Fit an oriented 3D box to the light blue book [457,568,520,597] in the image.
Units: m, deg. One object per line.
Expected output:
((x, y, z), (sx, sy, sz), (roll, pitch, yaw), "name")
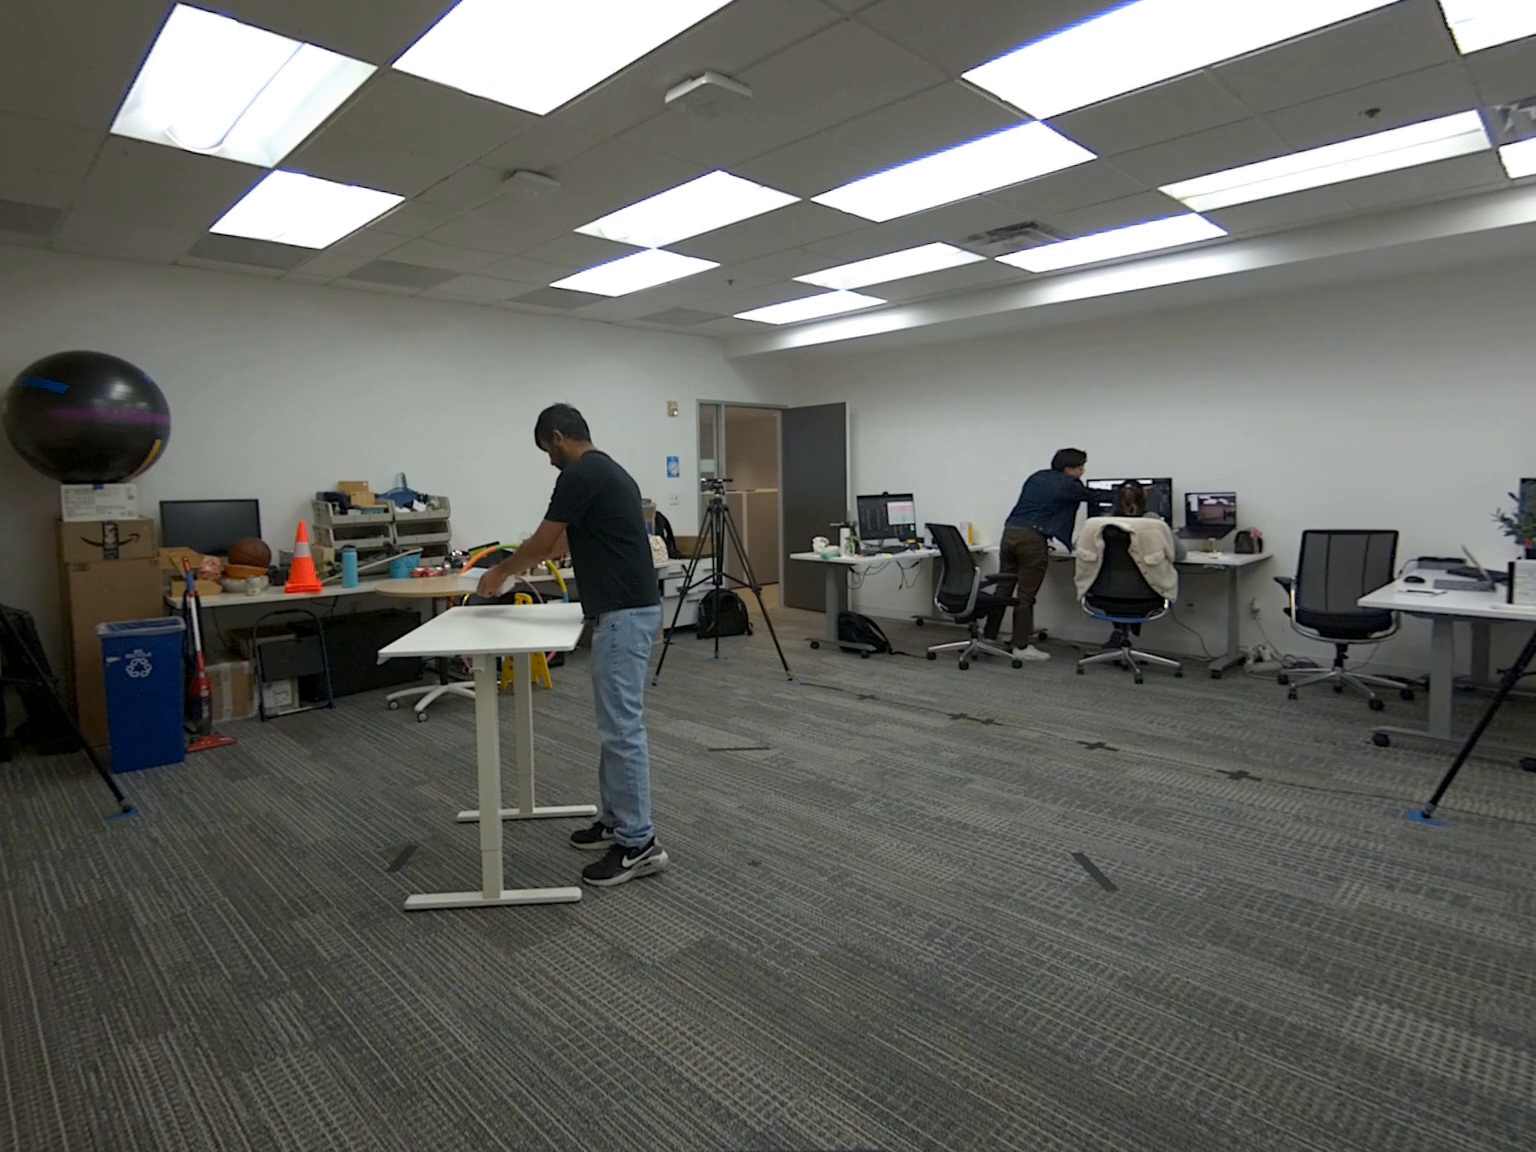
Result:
((-1.129, 0.013, 3.460), (0.191, 0.058, 0.263), (4, 8, -4), "light blue book")
